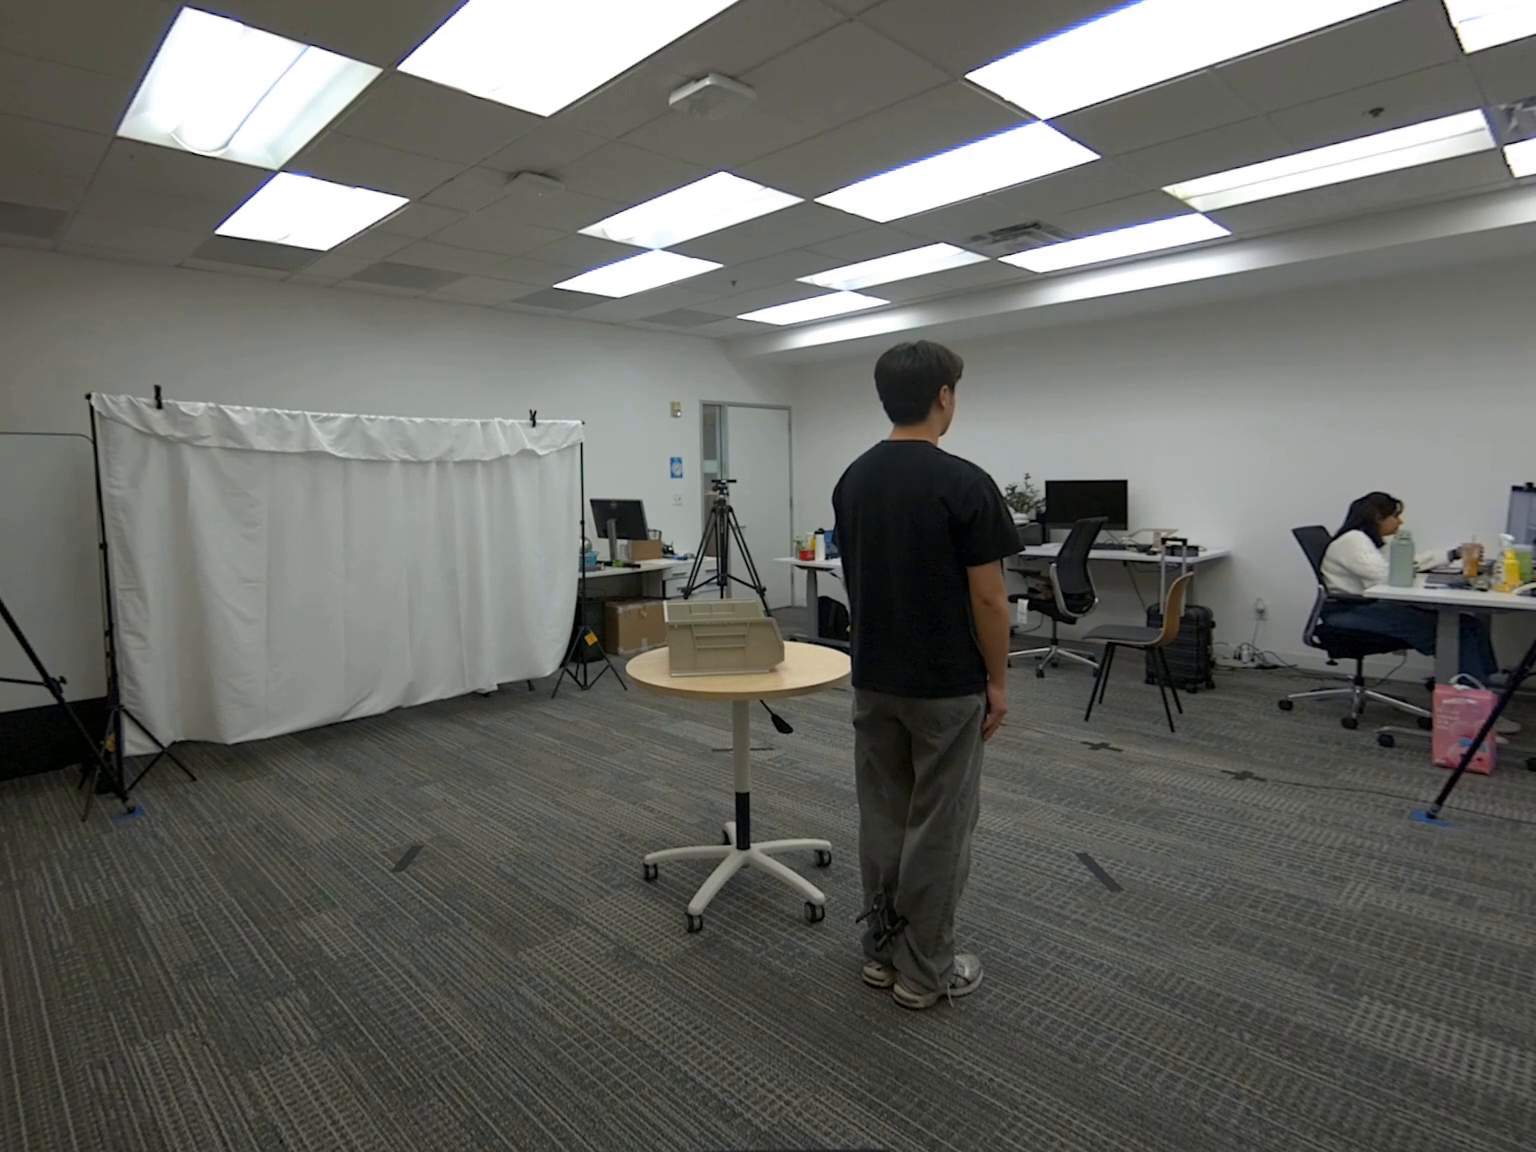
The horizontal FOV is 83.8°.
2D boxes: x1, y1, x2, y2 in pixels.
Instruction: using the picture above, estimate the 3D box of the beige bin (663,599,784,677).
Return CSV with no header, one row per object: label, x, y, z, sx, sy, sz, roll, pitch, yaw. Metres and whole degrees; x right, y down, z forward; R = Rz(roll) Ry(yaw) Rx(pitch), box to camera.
beige bin,-0.156,0.200,2.904,0.375,0.188,0.427,-3,7,-6
